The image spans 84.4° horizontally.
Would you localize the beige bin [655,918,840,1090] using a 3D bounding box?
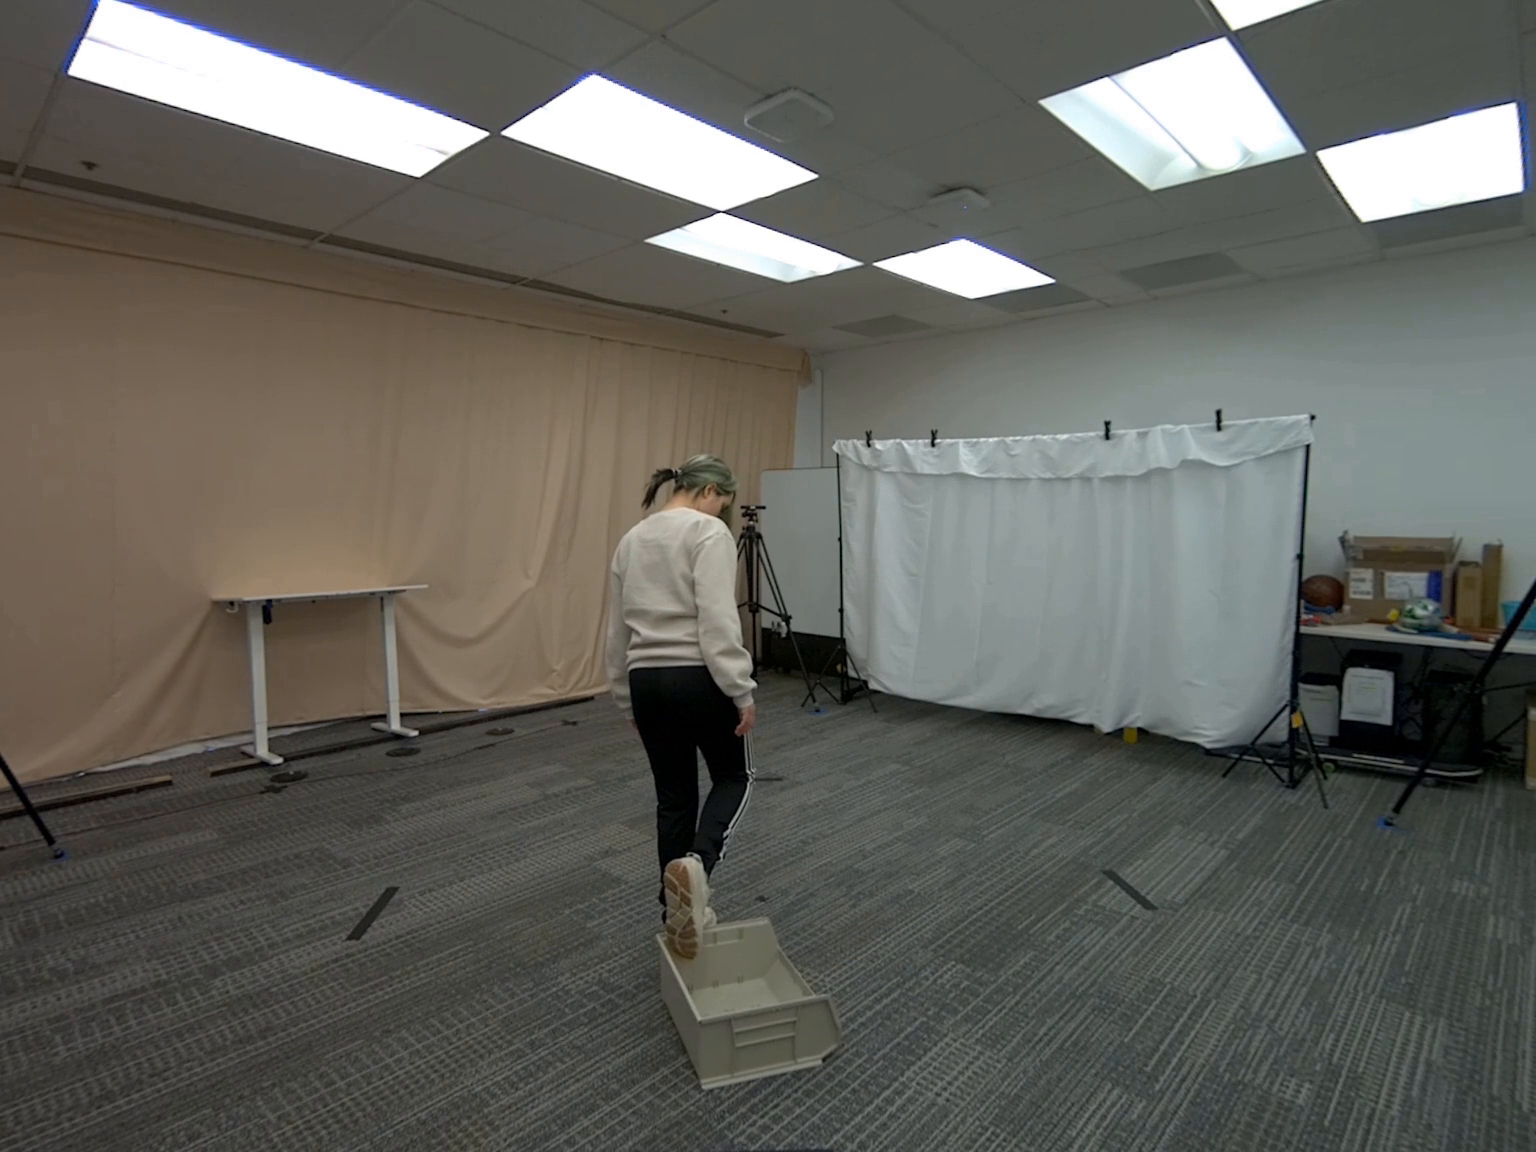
[{"bbox_3d":[-0.060,1.115,2.244,0.370,0.188,0.432,-3,6,-20],"label":"beige bin"}]
